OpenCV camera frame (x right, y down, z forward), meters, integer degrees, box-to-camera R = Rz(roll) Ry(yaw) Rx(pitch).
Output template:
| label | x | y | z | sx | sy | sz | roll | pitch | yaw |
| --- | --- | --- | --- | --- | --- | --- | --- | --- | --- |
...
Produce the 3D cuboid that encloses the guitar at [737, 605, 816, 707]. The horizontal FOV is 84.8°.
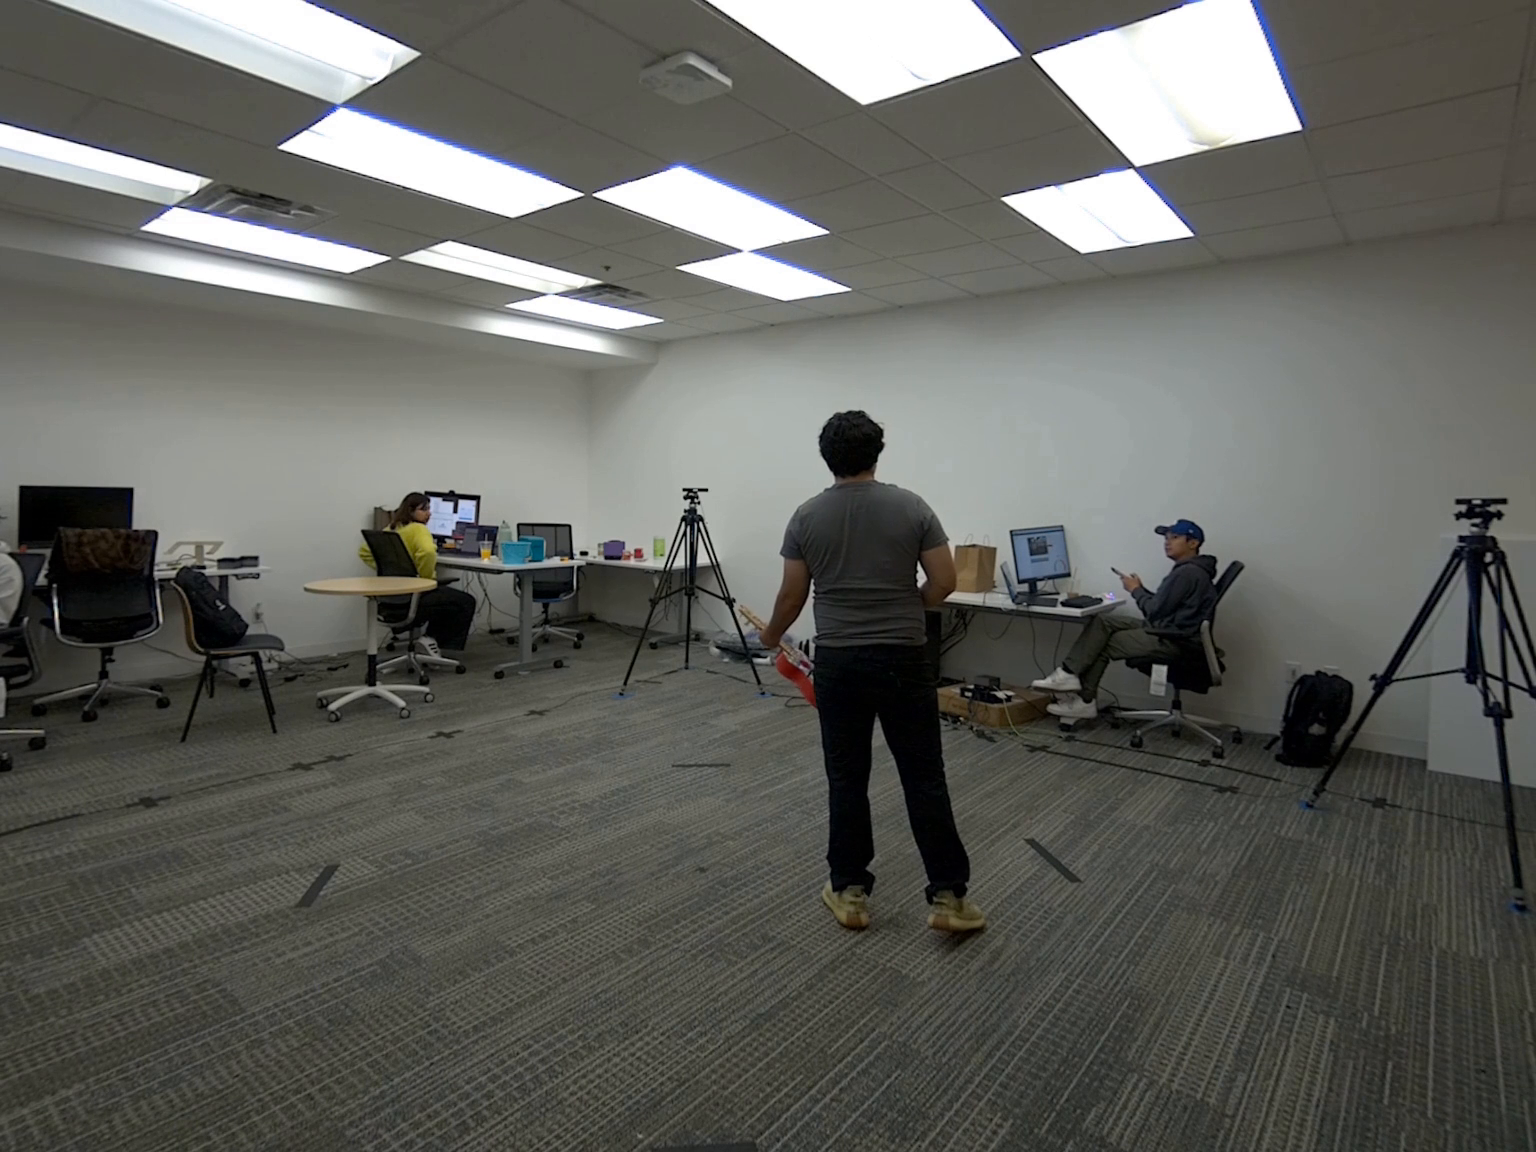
| label | x | y | z | sx | sy | sz | roll | pitch | yaw |
| --- | --- | --- | --- | --- | --- | --- | --- | --- | --- |
| guitar | 0.075 | 0.288 | 3.162 | 0.514 | 0.070 | 0.187 | 44 | 23 | 24 |
